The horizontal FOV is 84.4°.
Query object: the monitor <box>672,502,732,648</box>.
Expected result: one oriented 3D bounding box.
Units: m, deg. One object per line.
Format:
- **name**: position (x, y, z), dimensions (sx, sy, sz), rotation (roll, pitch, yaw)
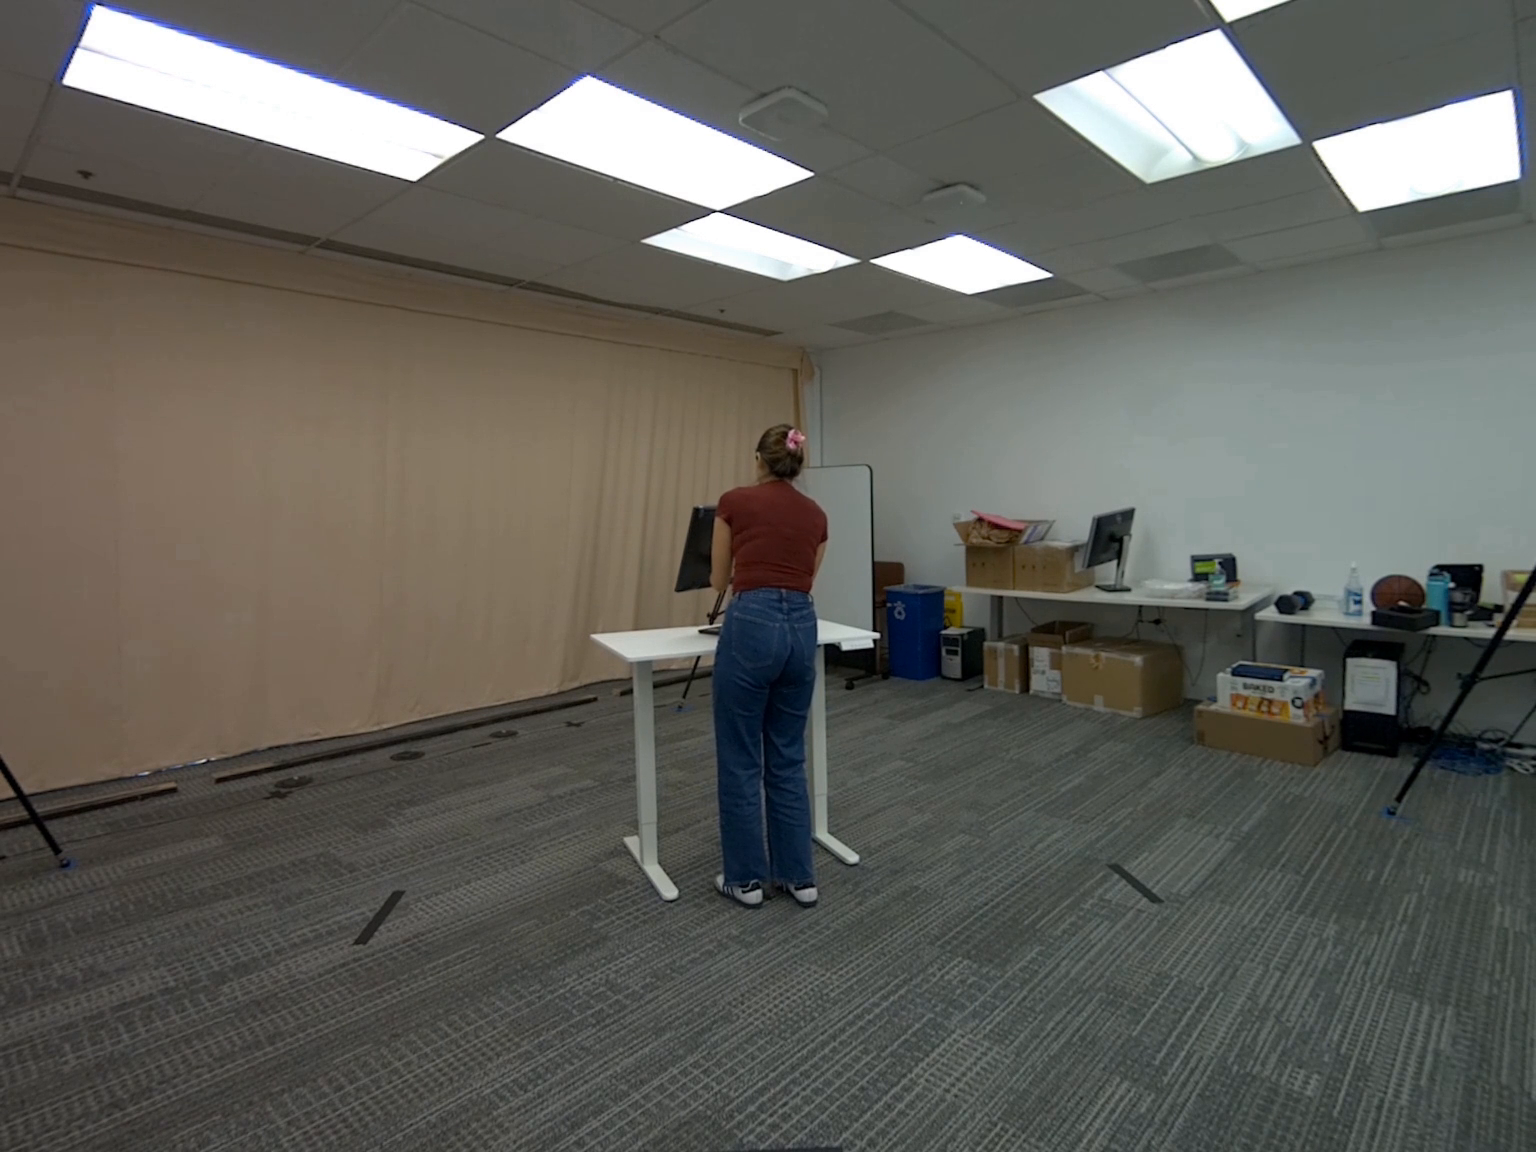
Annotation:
- **monitor**: position (-0.137, -0.031, 3.414), dimensions (0.193, 0.520, 0.524), rotation (6, 8, 36)
